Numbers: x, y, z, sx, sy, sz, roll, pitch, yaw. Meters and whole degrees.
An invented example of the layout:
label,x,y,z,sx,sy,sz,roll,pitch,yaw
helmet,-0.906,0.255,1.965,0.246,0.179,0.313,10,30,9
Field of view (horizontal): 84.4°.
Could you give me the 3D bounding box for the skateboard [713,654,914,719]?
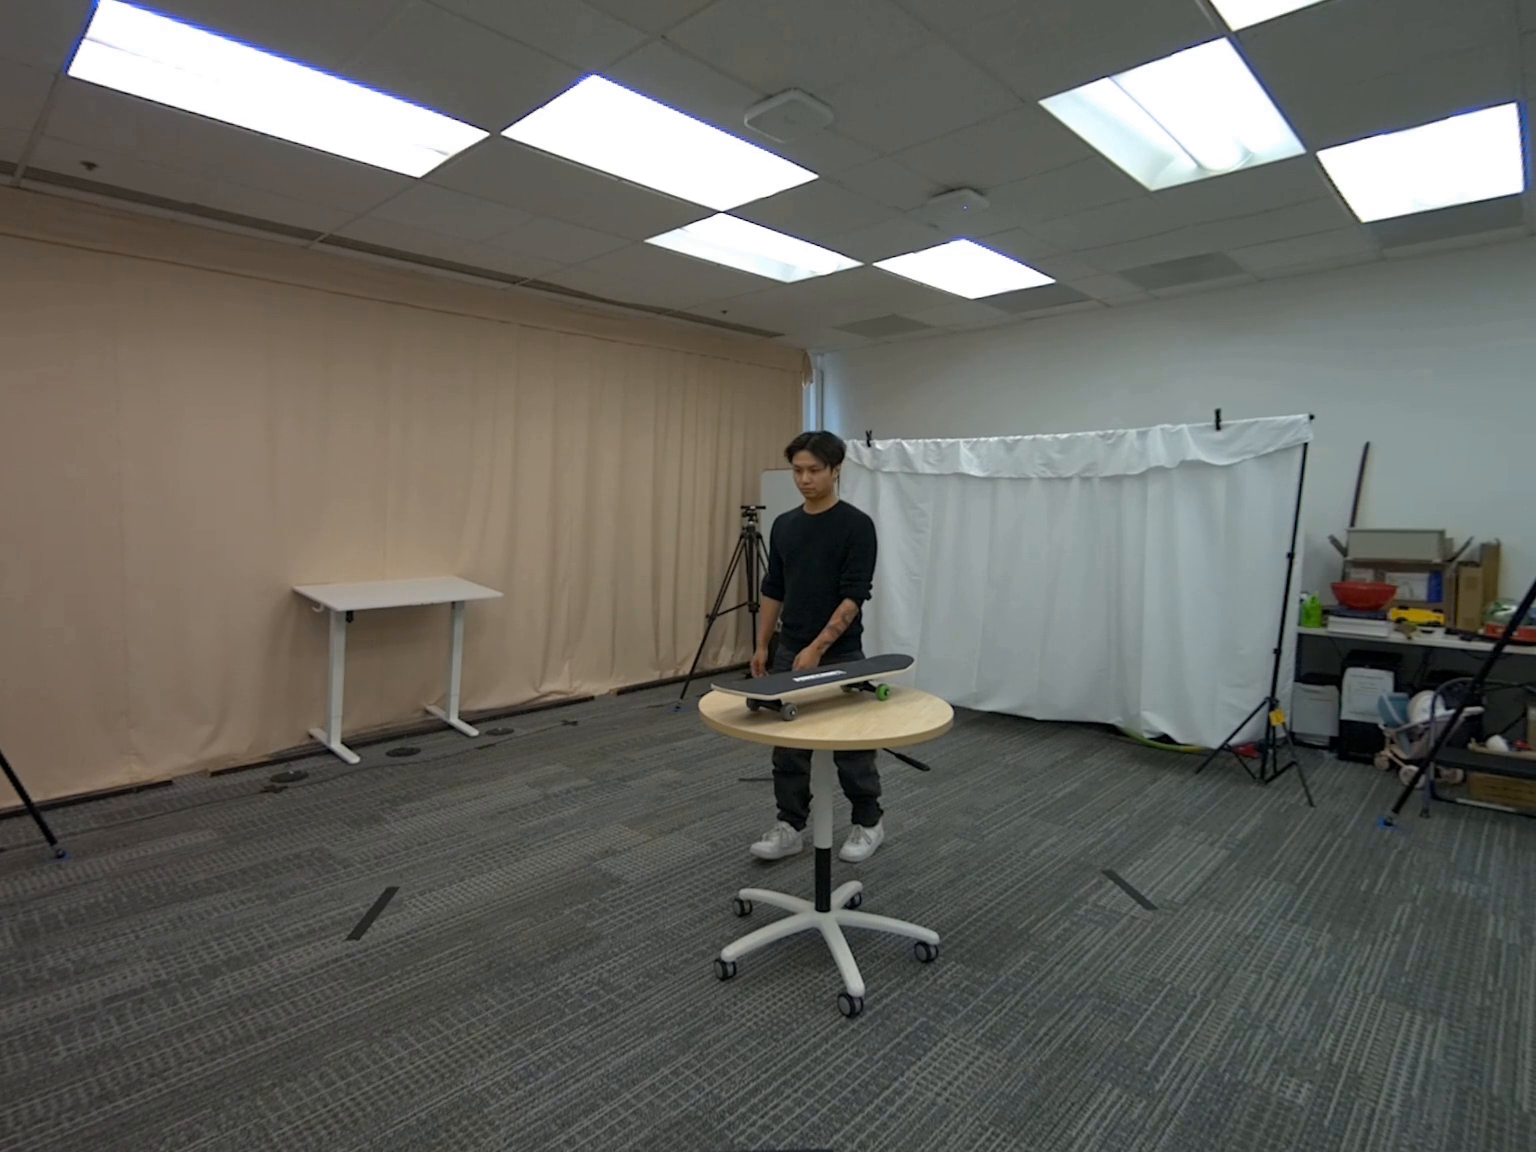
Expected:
label,x,y,z,sx,sy,sz,roll,pitch,yaw
skateboard,0.155,0.344,2.569,0.762,0.110,0.200,-5,6,-39
